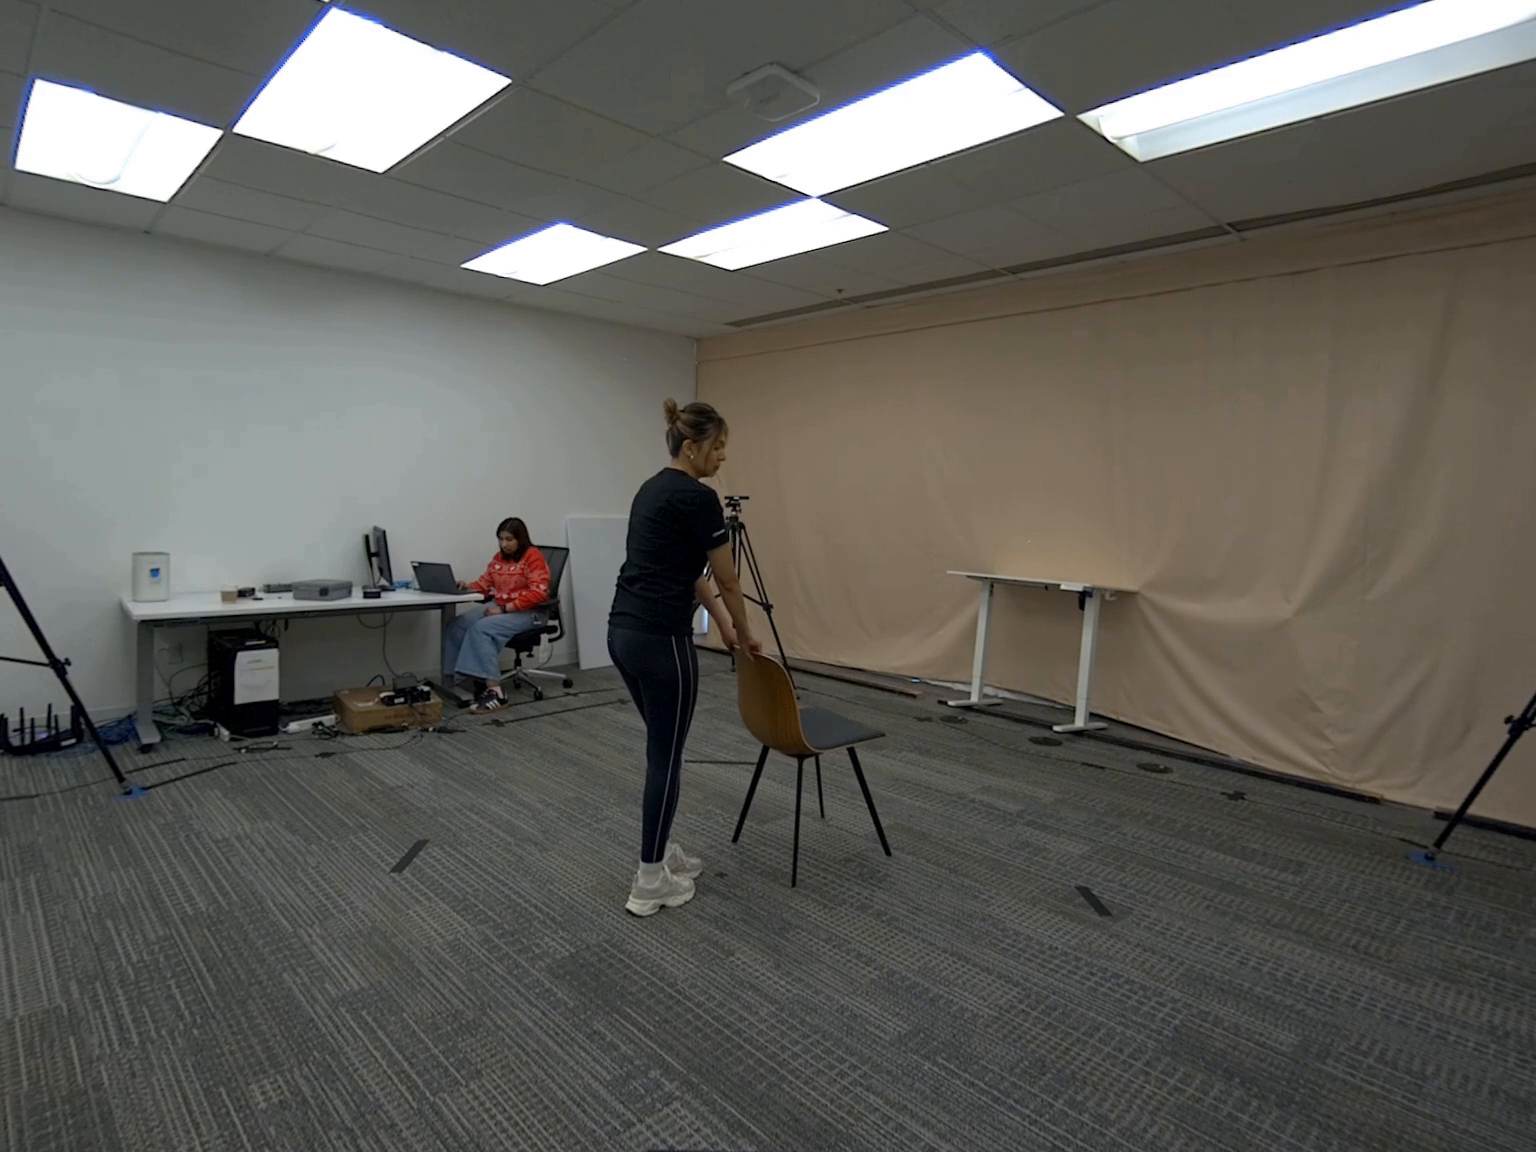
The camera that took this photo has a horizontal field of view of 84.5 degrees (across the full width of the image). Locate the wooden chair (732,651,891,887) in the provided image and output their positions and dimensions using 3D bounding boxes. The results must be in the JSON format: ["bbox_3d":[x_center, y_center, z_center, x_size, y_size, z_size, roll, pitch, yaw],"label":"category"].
[{"bbox_3d":[0.149,0.654,3.278,0.514,0.872,0.489,-10,8,-30],"label":"wooden chair"}]
